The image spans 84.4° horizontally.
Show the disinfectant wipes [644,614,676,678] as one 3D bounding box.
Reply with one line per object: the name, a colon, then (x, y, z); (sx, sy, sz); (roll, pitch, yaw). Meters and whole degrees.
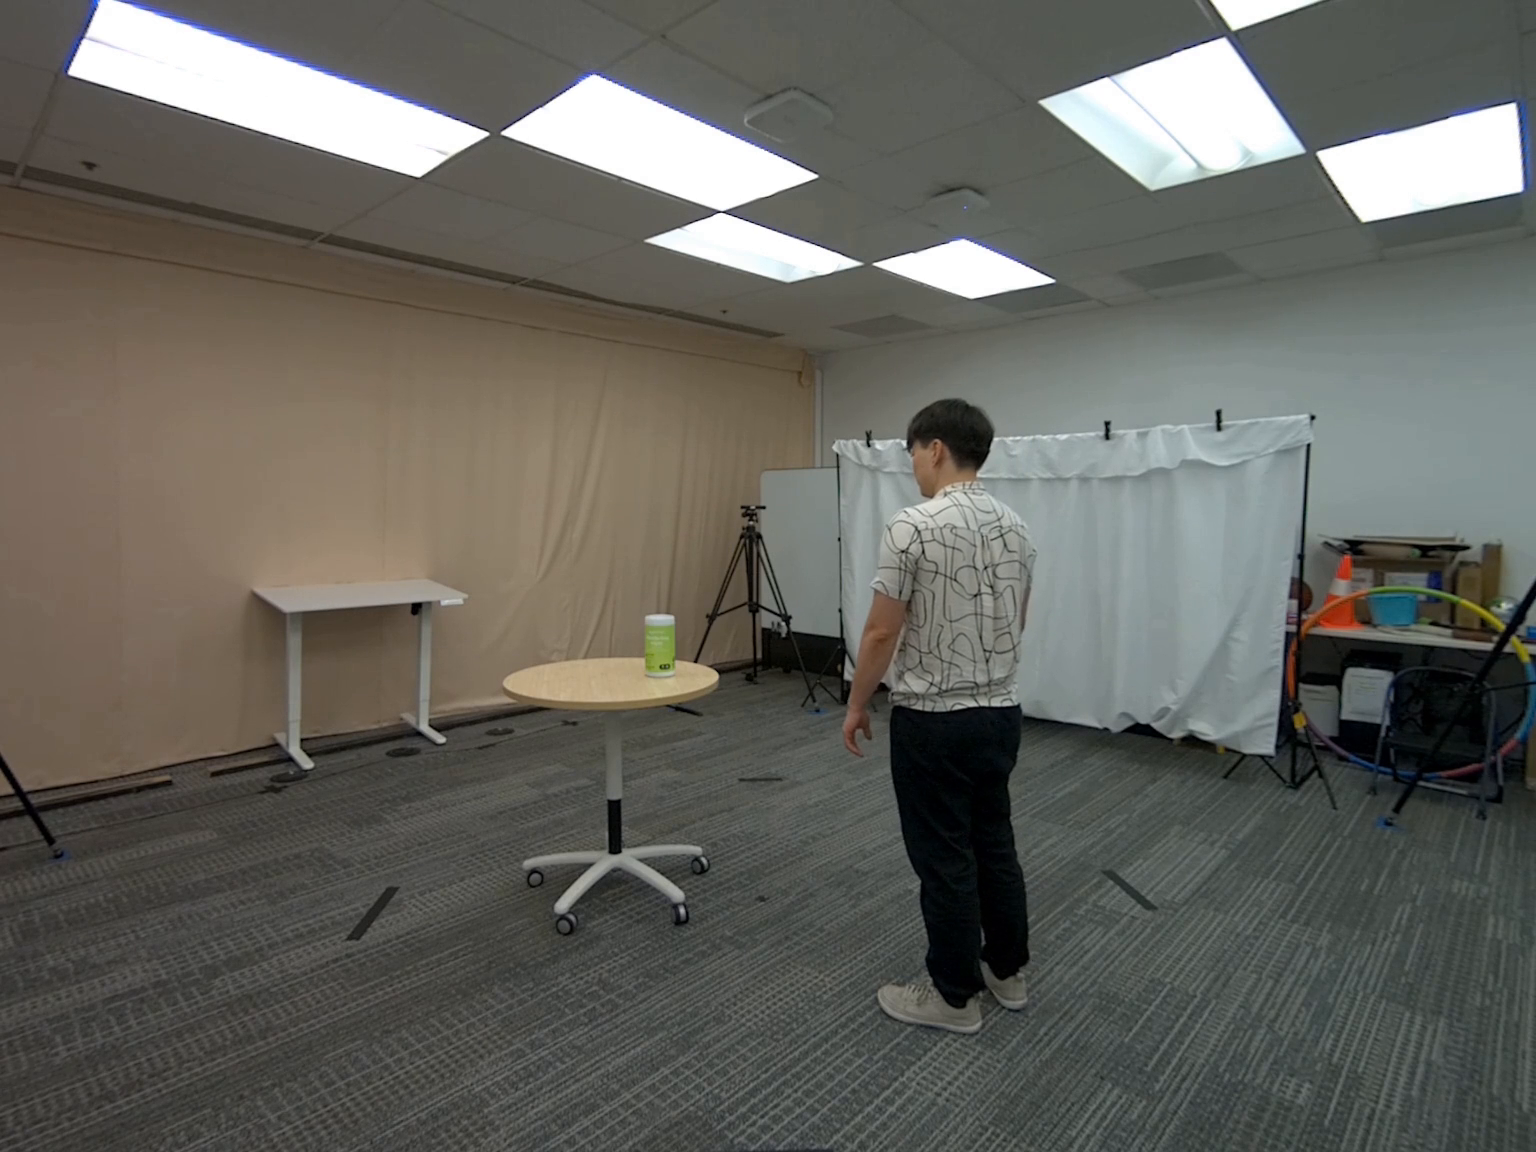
disinfectant wipes: (-0.389, 0.254, 3.051); (0.118, 0.217, 0.118); (0, 4, -2)
